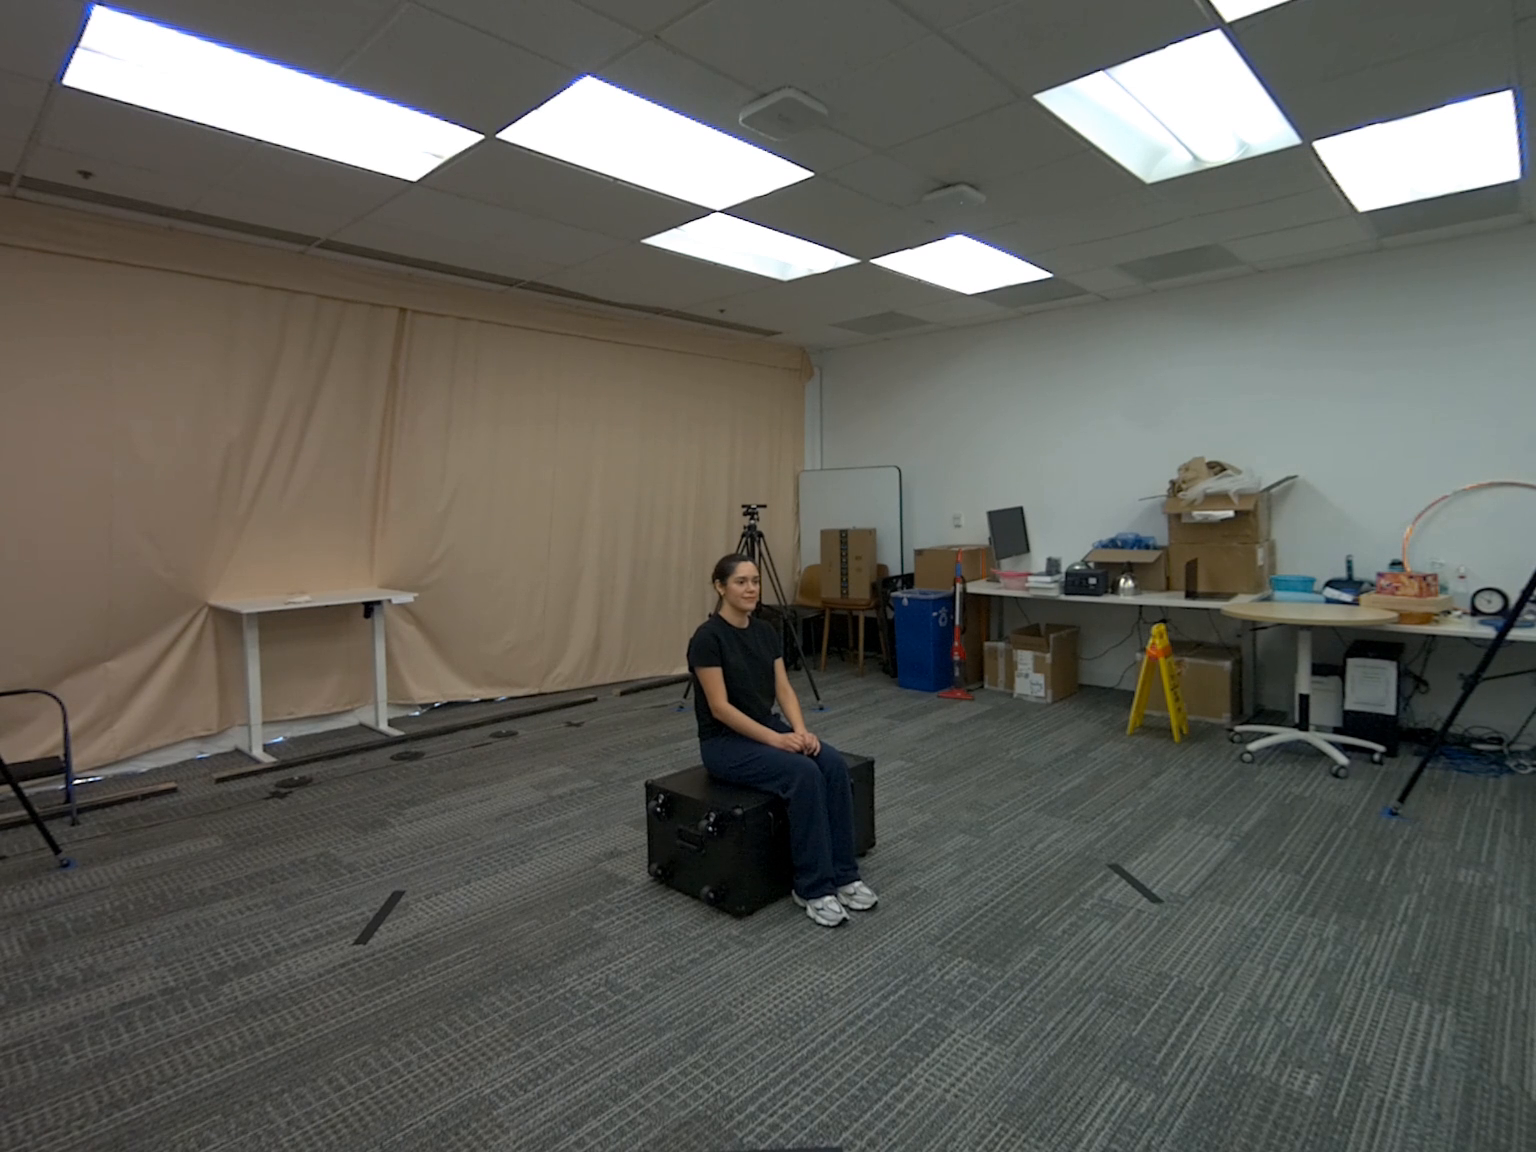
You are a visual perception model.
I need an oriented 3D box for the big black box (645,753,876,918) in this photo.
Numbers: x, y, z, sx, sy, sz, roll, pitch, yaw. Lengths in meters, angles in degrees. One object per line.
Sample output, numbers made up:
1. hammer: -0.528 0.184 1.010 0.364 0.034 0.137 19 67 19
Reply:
1. big black box: -0.023 0.932 3.217 0.538 0.395 0.835 2 5 43
